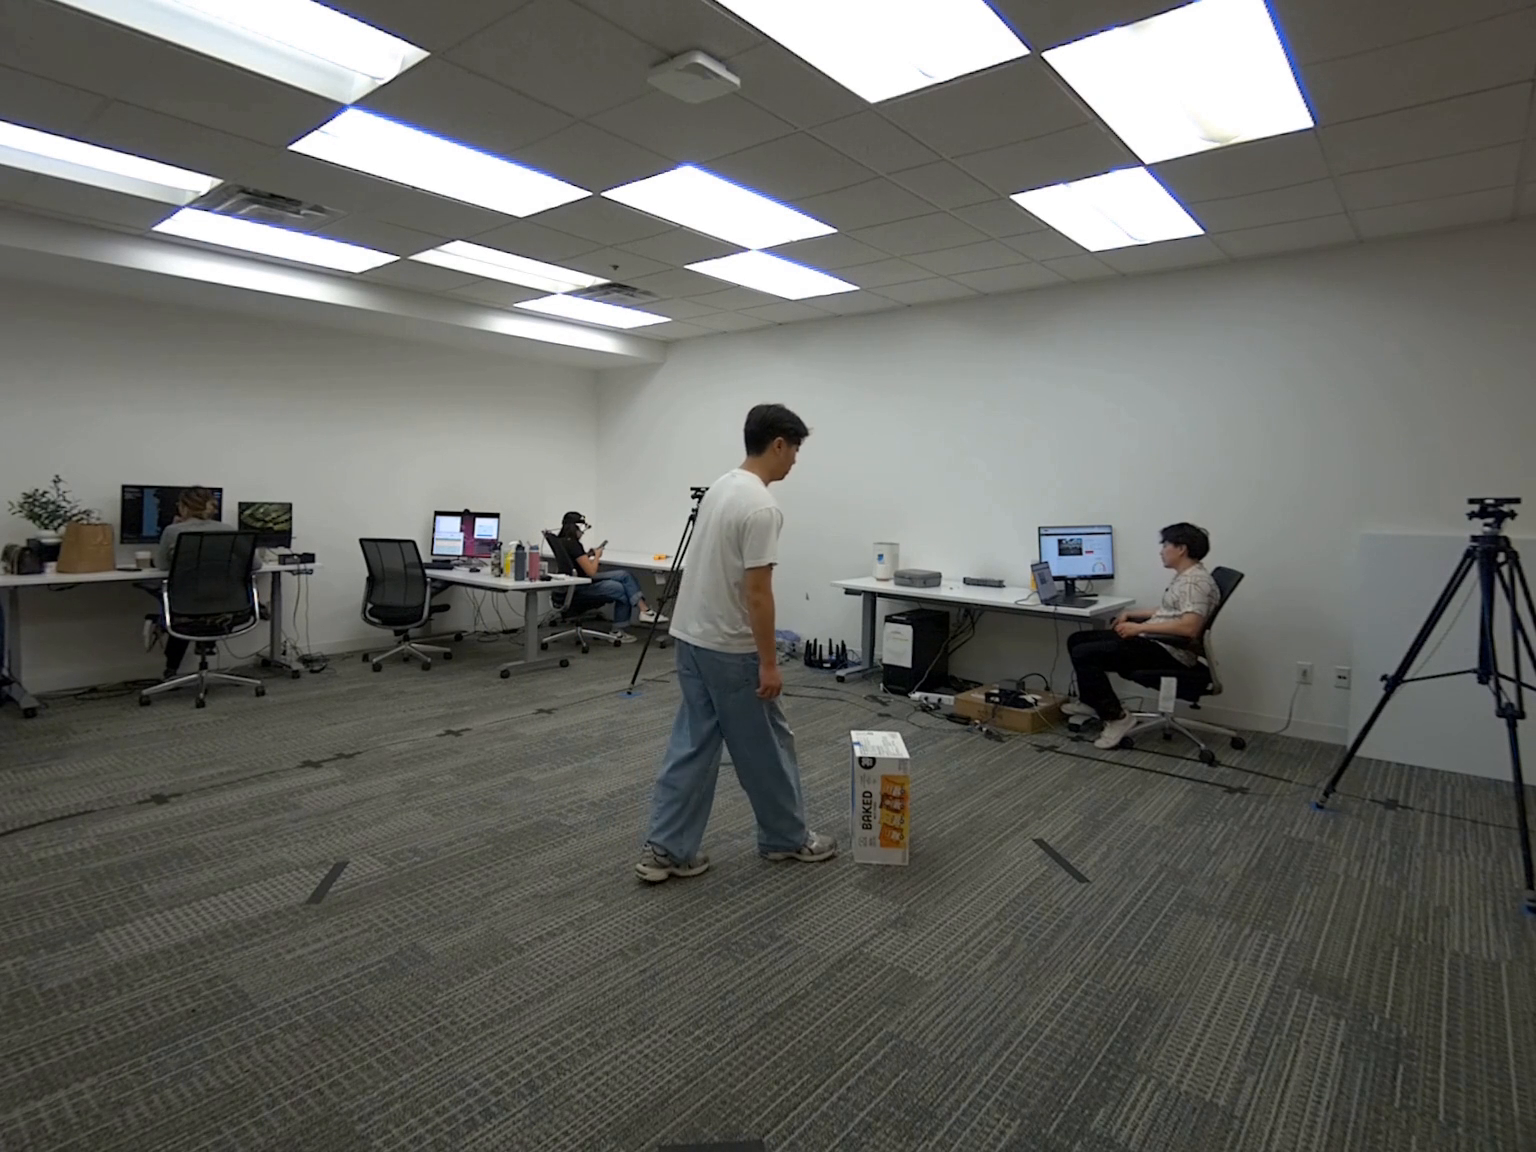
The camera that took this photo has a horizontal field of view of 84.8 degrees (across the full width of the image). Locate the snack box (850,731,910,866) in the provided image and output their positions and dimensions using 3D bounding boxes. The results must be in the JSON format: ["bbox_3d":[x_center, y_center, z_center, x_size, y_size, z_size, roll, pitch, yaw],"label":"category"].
[{"bbox_3d":[0.427,0.856,3.342,0.206,0.404,0.340,0,4,3],"label":"snack box"}]
